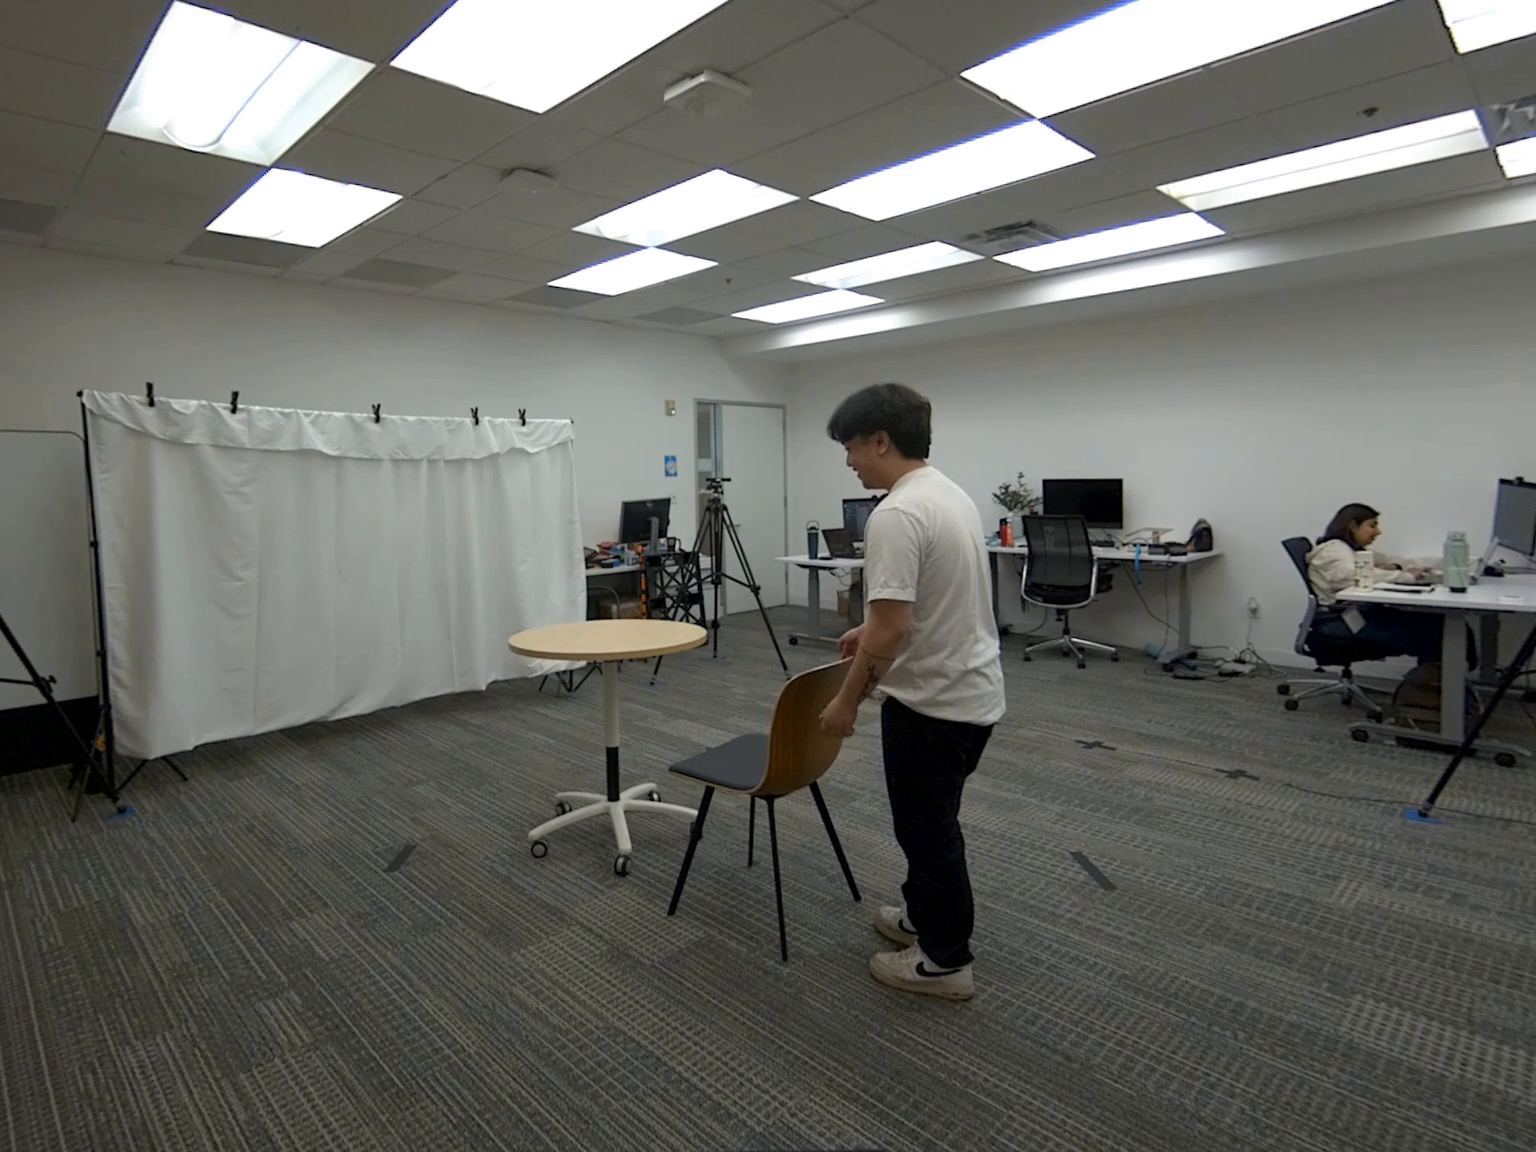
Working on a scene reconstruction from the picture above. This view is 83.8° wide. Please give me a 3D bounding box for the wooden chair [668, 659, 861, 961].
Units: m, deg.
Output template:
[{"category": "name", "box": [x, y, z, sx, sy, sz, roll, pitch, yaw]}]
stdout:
[{"category": "wooden chair", "box": [-0.019, 0.654, 2.752, 0.540, 0.872, 0.466, 8, 9, 37]}]
